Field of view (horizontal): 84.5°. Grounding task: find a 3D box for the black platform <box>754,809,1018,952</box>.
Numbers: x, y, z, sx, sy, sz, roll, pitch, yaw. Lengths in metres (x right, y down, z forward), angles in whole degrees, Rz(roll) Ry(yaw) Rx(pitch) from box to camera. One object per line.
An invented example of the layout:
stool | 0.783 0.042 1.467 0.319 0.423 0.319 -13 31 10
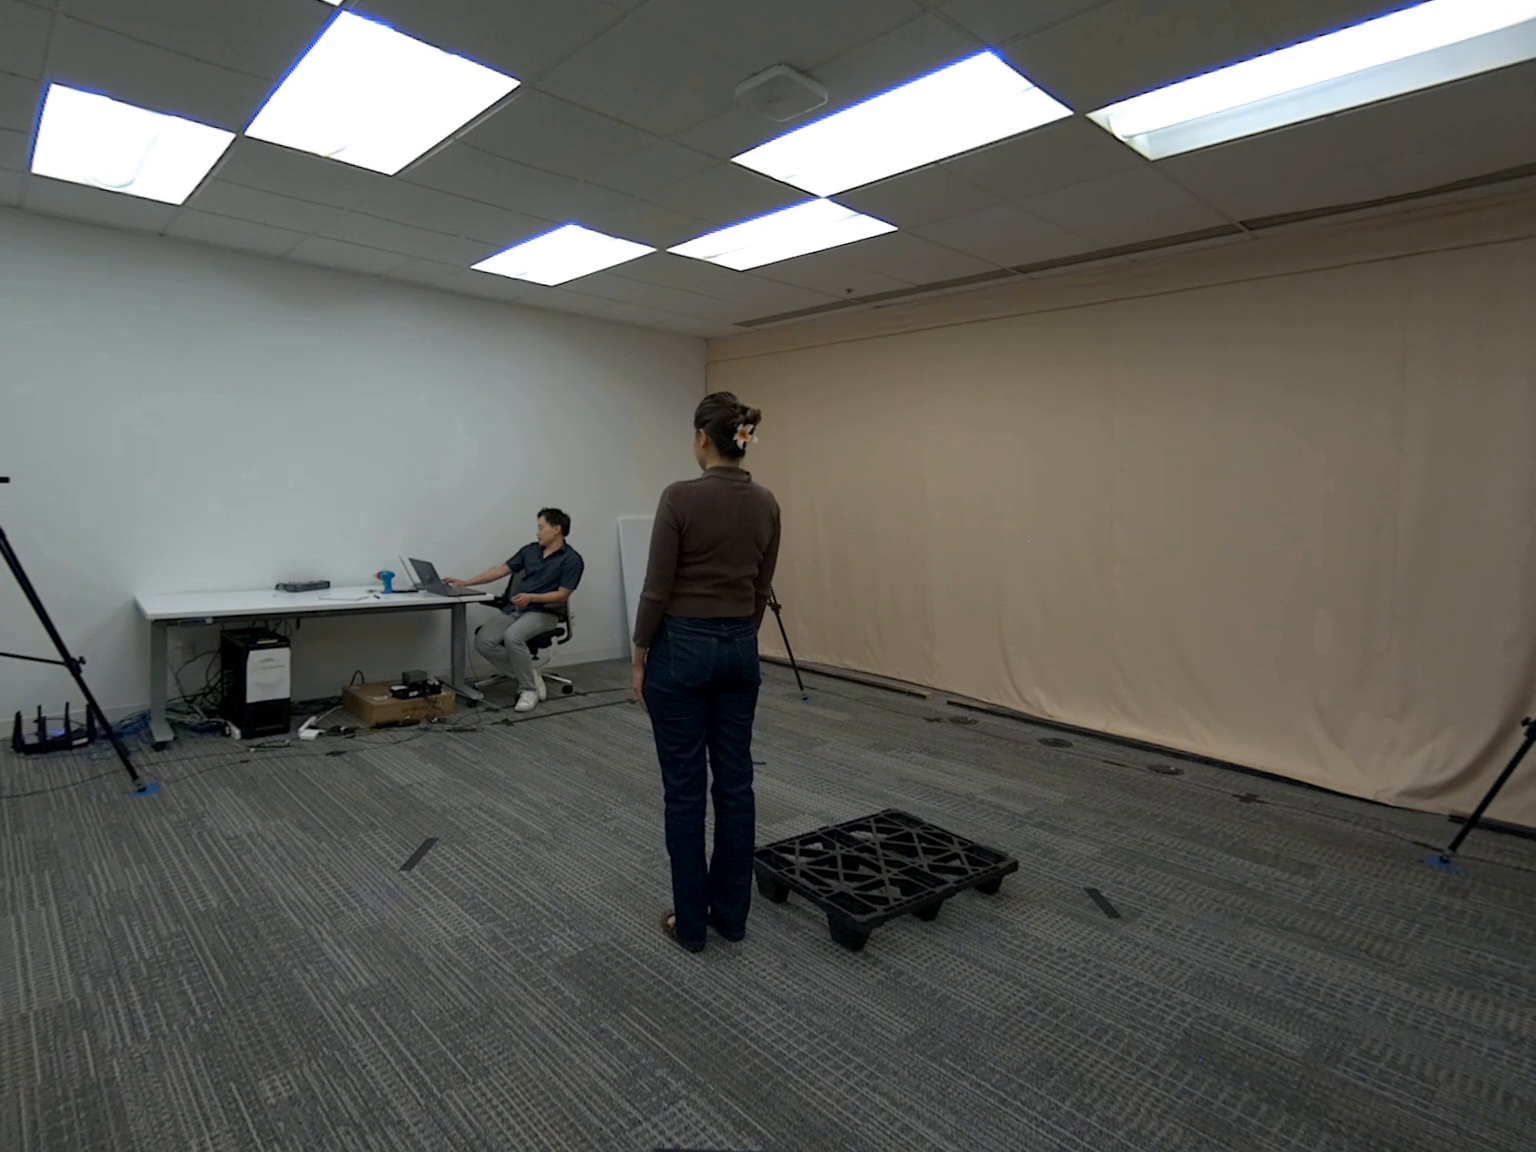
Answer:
black platform | 0.388 1.061 2.988 0.787 0.143 0.620 -2 6 -38
